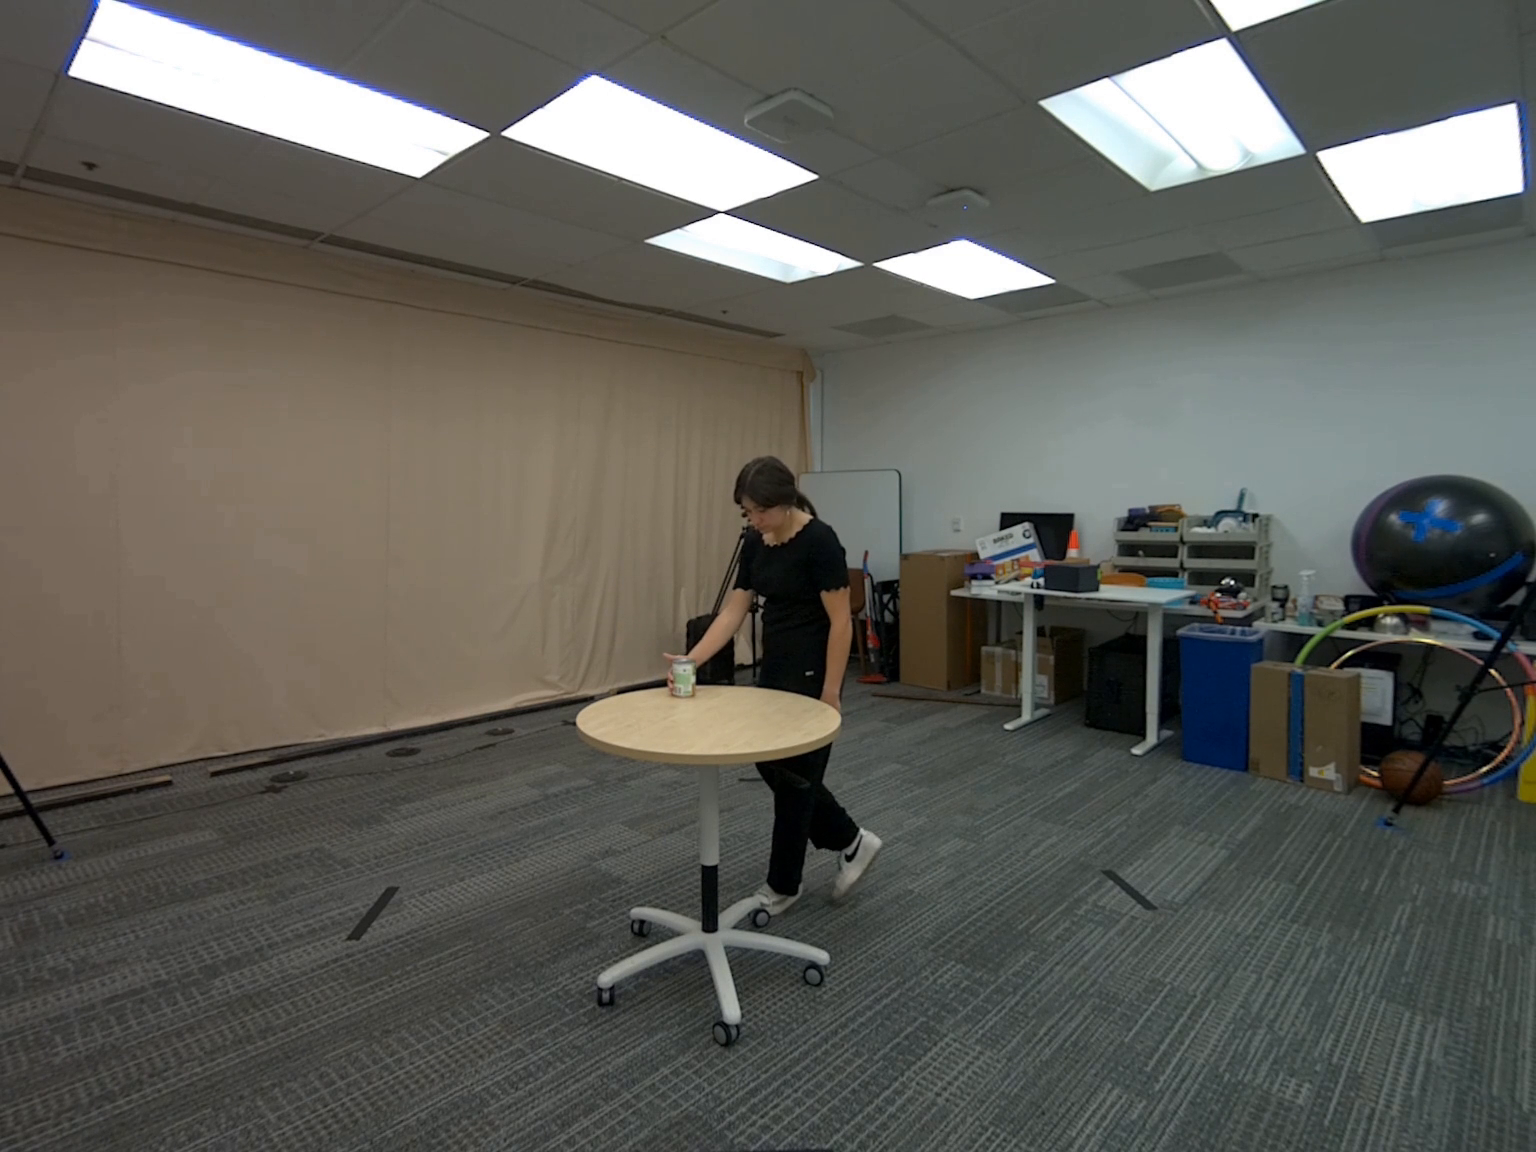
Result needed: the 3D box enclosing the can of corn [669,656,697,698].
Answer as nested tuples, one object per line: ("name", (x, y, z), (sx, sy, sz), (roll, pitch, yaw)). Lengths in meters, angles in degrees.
("can of corn", (-0.259, 0.328, 2.700), (0.074, 0.111, 0.074), (1, 3, -2))
